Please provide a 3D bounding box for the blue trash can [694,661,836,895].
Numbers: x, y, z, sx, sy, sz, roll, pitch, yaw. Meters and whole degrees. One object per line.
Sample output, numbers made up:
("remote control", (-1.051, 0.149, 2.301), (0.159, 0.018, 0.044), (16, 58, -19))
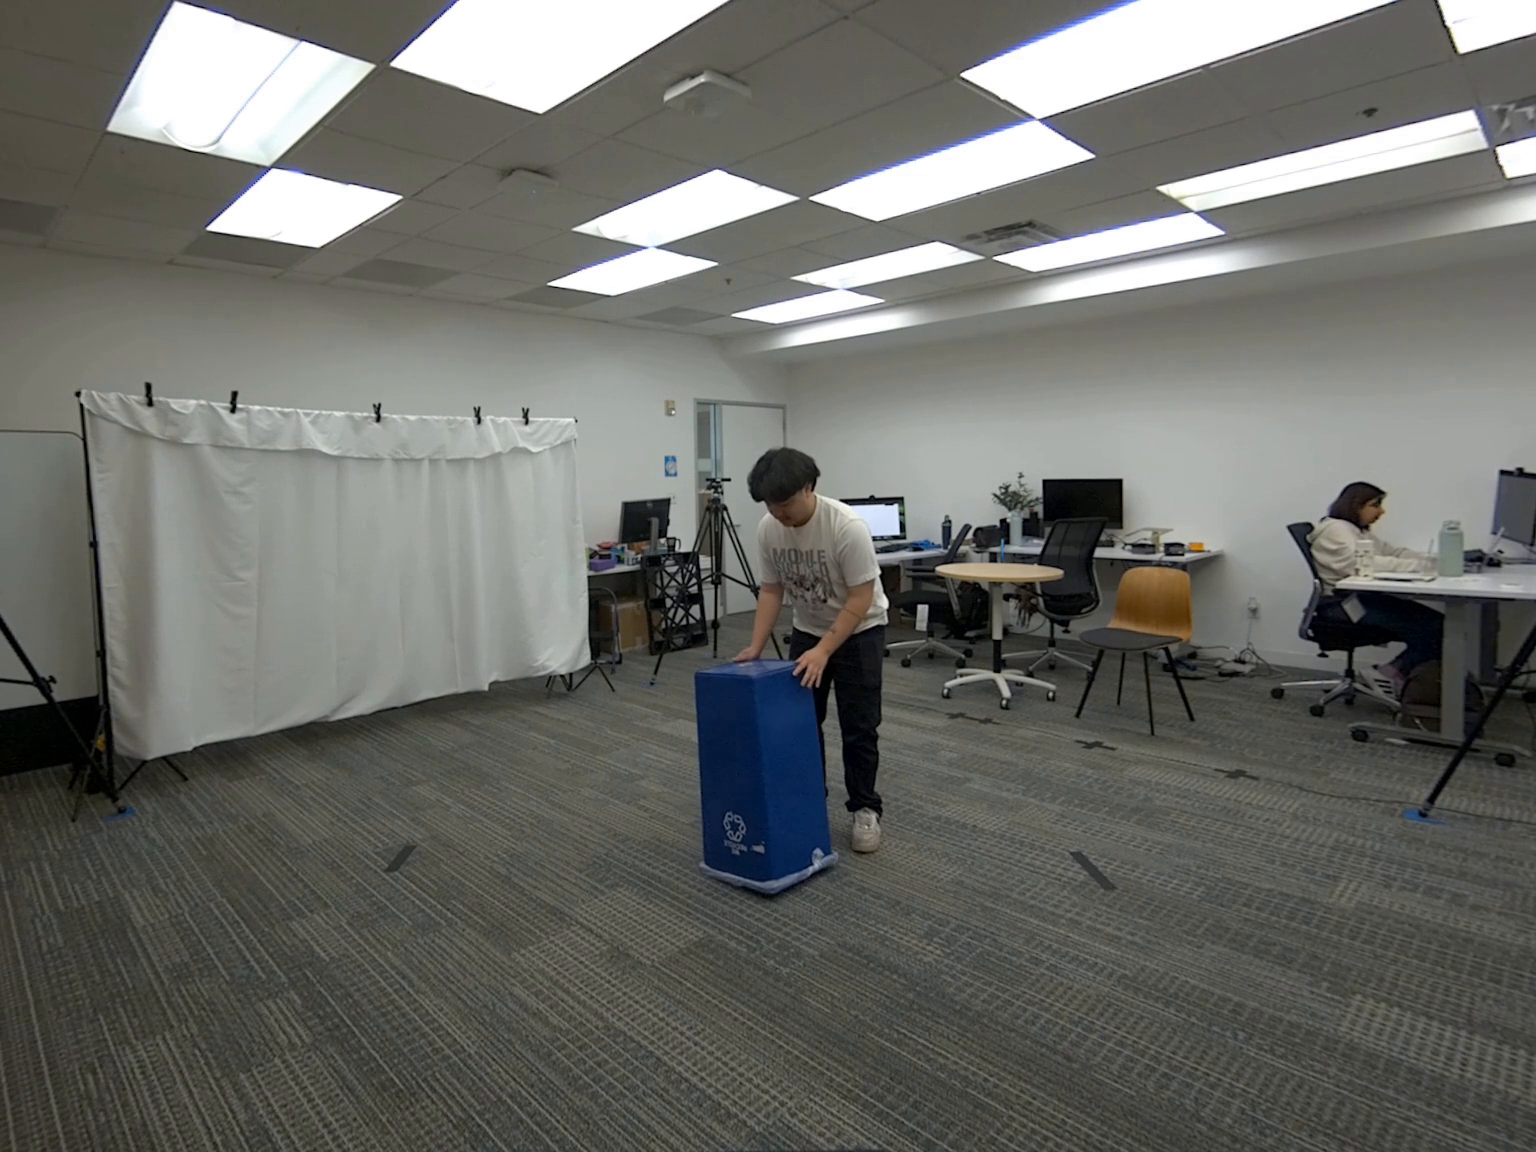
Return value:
("blue trash can", (-0.033, 0.680, 3.062), (0.384, 0.714, 0.368), (-7, -1, 44))
